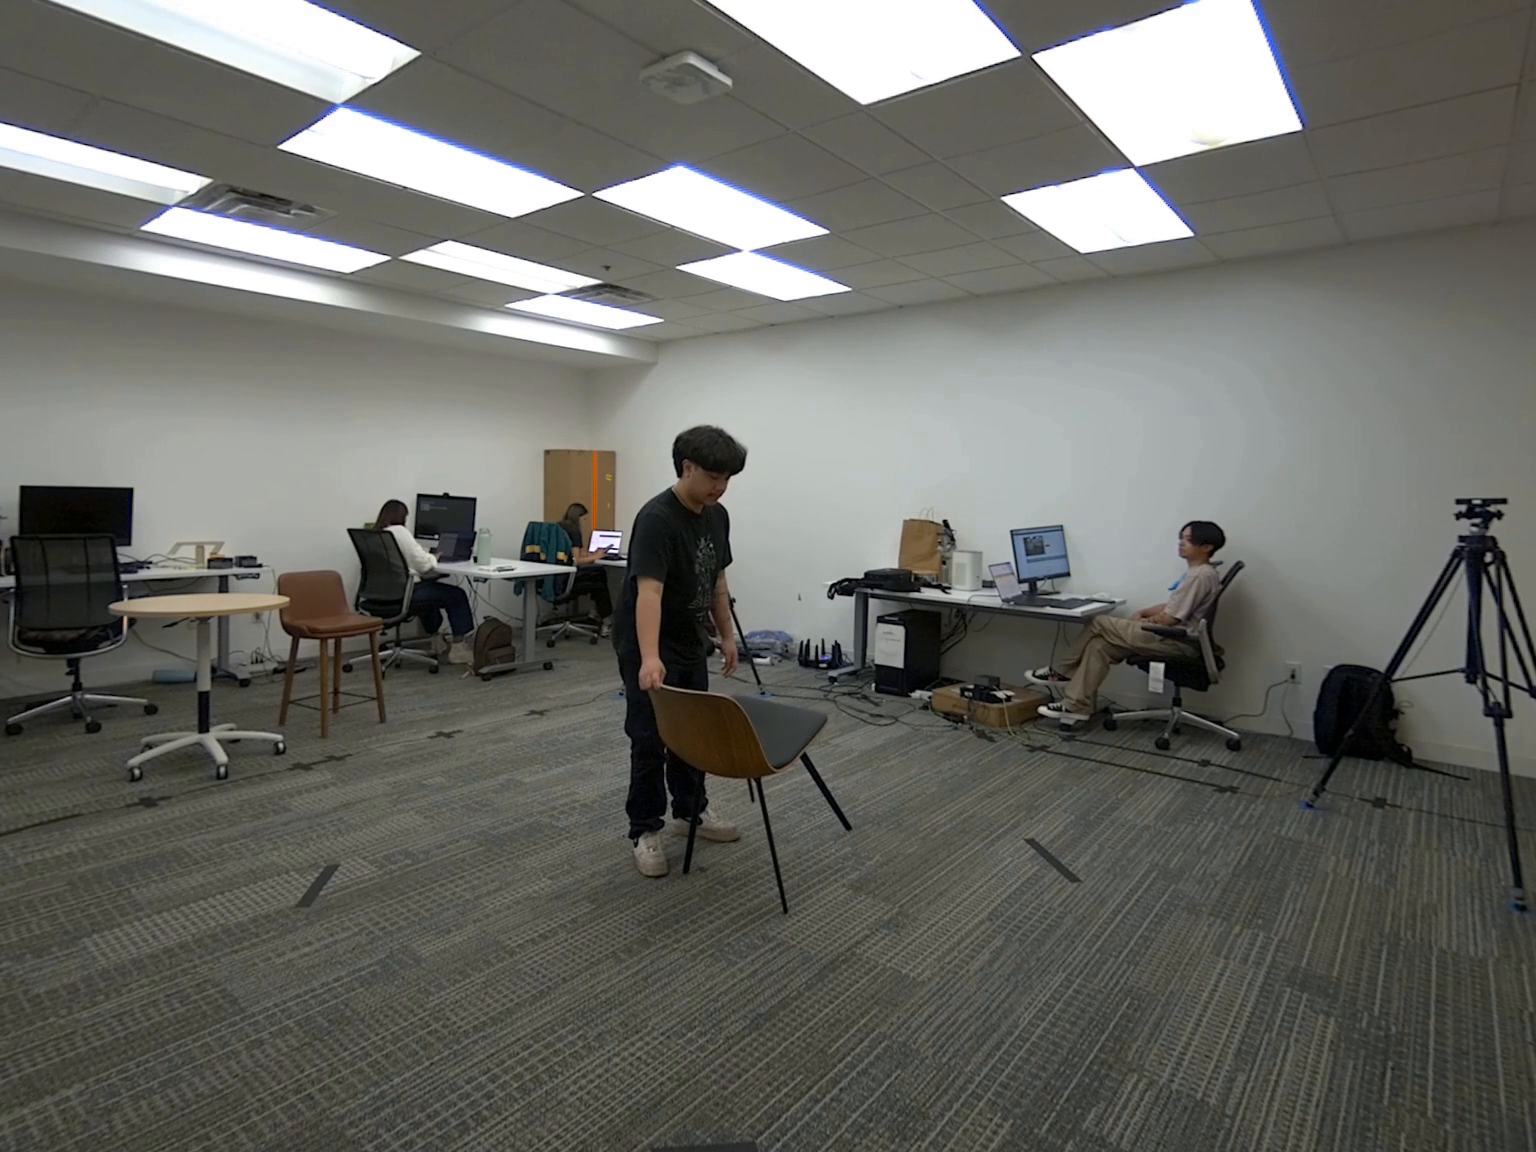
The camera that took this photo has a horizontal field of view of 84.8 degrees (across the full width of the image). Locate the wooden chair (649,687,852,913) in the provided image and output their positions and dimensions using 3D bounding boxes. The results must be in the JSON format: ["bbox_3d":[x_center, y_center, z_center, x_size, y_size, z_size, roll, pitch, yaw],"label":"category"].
[{"bbox_3d":[-0.074,0.608,2.959,0.493,0.856,0.519,3,28,37],"label":"wooden chair"}]
